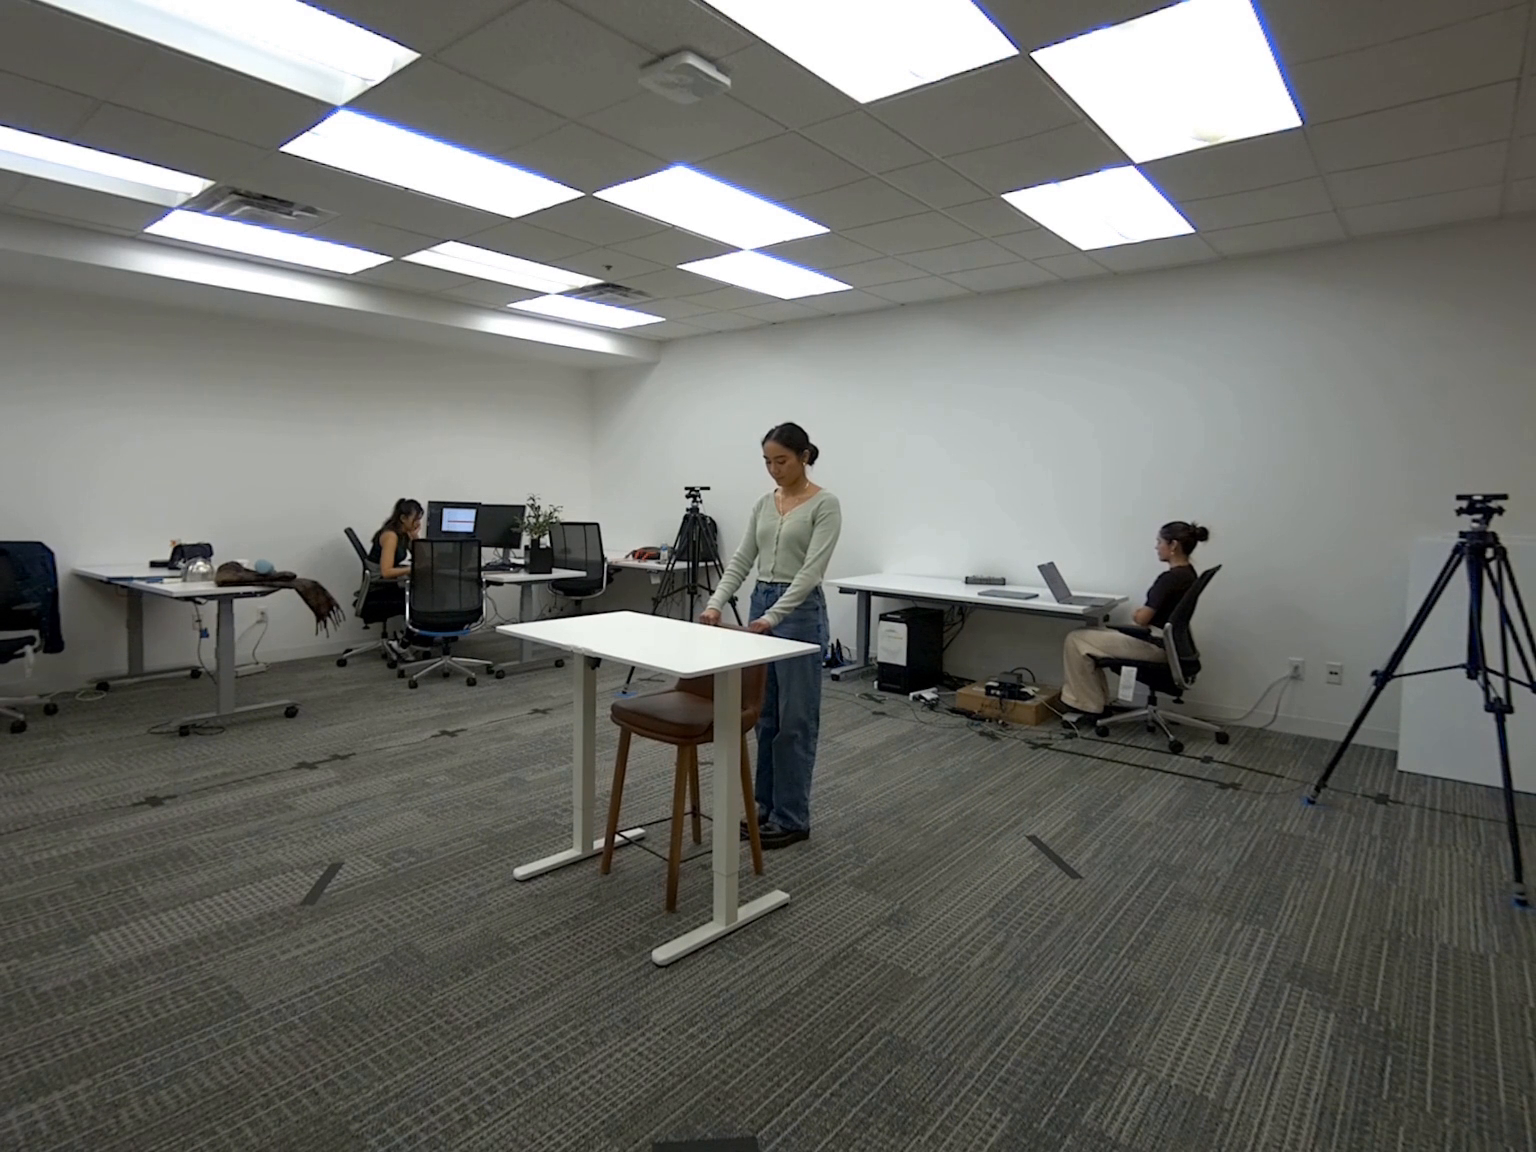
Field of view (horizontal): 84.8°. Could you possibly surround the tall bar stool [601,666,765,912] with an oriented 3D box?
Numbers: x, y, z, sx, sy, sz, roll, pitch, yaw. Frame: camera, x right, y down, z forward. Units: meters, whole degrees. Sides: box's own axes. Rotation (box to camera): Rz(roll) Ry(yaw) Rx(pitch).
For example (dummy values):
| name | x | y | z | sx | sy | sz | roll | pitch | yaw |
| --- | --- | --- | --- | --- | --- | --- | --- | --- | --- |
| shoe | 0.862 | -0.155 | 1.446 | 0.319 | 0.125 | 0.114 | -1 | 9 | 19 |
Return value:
| name | x | y | z | sx | sy | sz | roll | pitch | yaw |
| --- | --- | --- | --- | --- | --- | --- | --- | --- | --- |
| tall bar stool | -0.295 | 0.635 | 3.046 | 0.452 | 0.889 | 0.472 | 1 | 1 | -43 |
